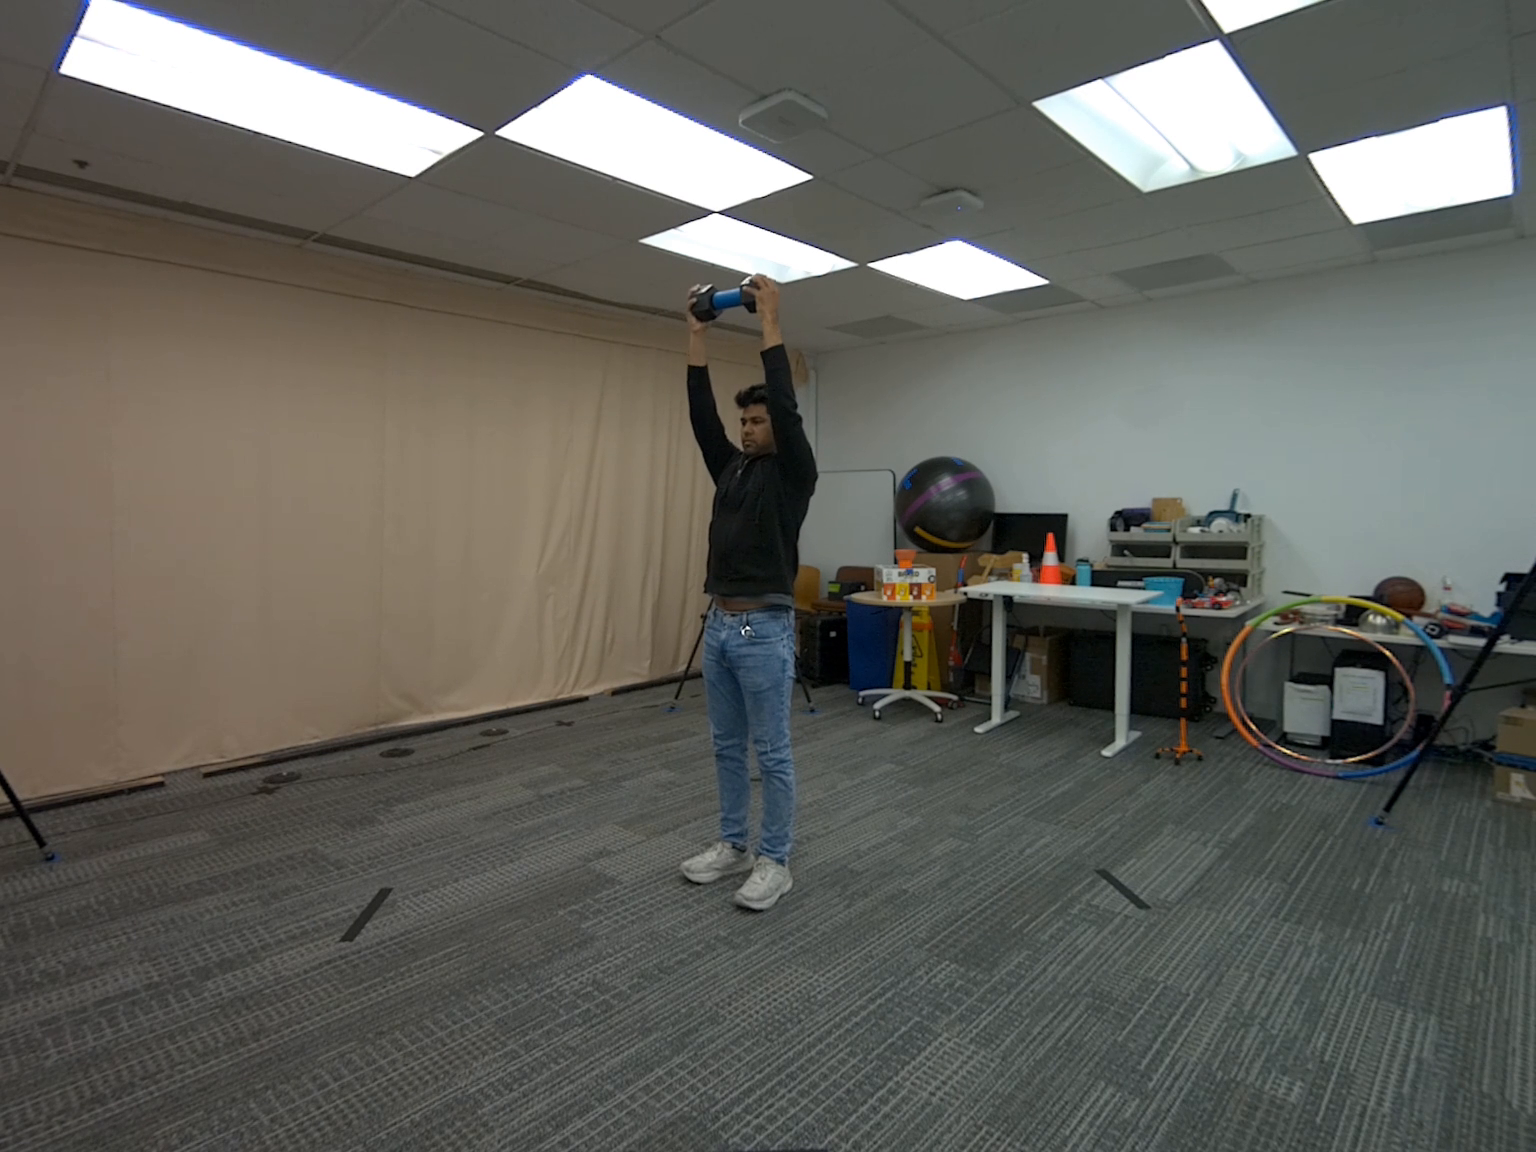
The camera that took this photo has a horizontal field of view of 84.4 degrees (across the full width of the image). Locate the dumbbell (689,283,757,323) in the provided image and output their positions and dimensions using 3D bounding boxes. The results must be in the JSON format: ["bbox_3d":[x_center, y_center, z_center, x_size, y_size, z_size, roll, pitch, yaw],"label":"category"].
[{"bbox_3d":[-0.126,-0.959,2.925,0.302,0.106,0.122,3,33,33],"label":"dumbbell"}]
